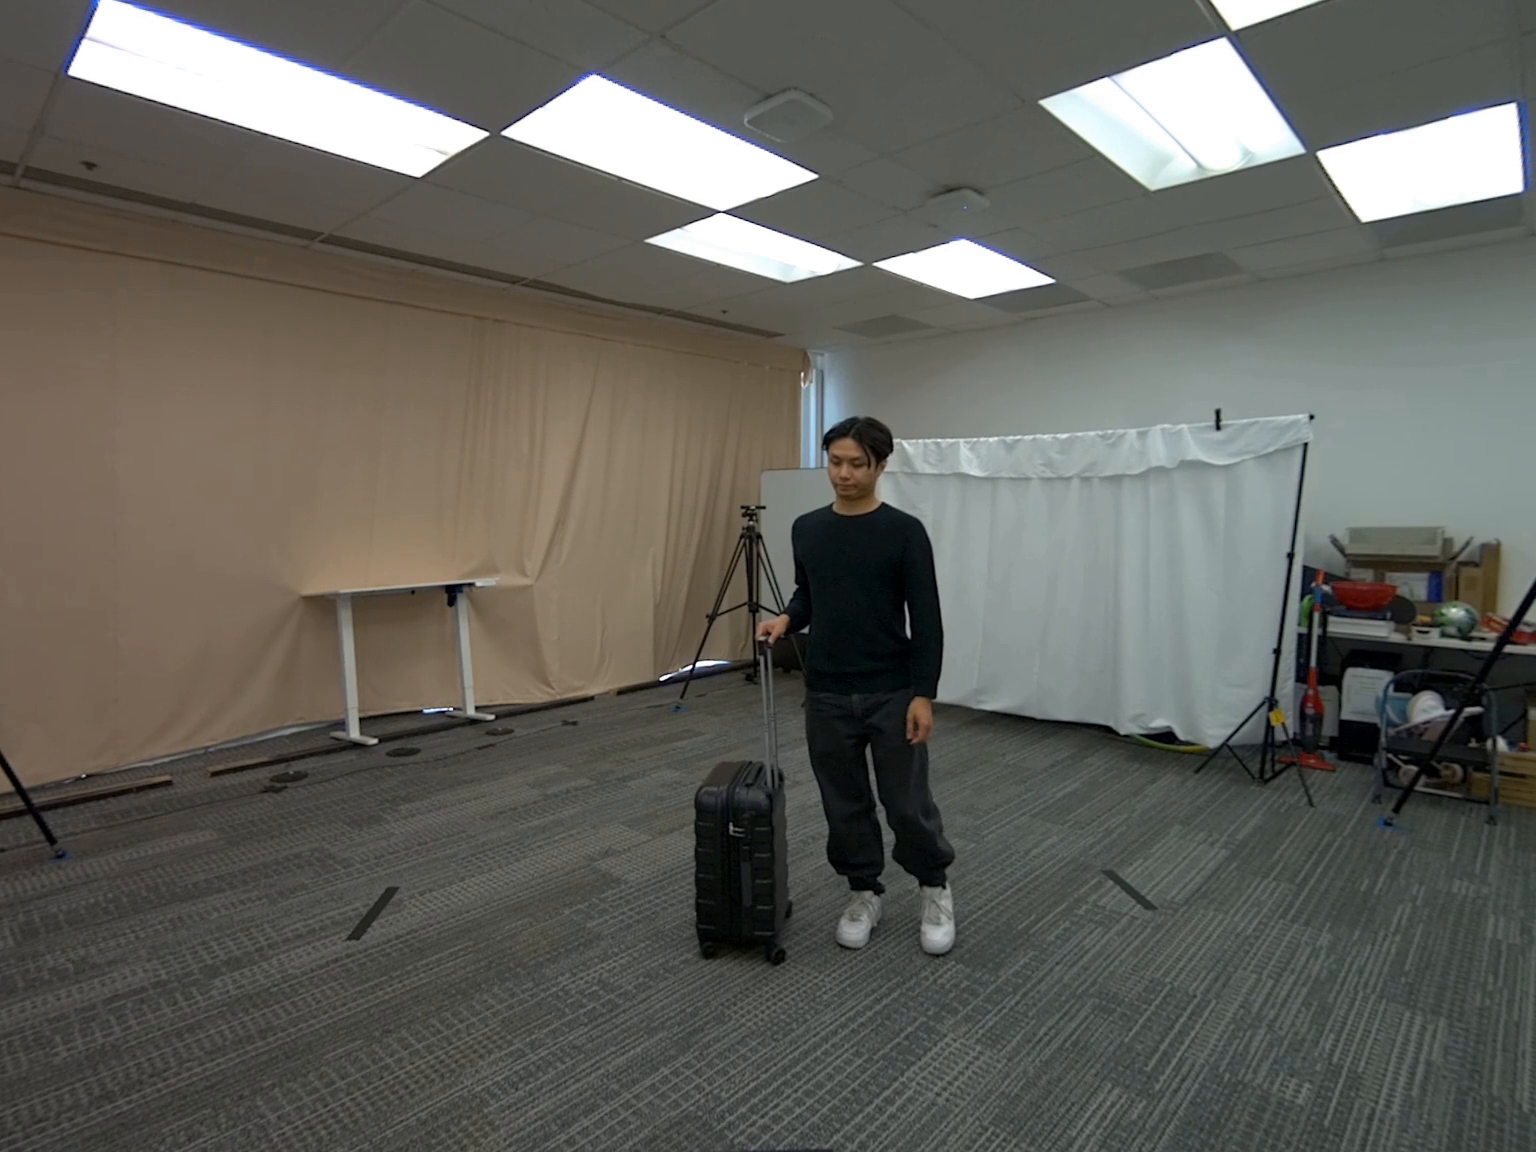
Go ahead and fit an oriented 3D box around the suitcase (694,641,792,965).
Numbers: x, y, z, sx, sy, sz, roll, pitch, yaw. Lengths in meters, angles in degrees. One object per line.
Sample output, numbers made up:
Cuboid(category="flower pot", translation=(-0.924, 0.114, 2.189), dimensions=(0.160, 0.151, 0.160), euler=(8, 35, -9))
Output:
Cuboid(category="suitcase", translation=(-0.085, 0.697, 2.696), dimensions=(0.259, 0.977, 0.381), euler=(-3, 3, 8))
